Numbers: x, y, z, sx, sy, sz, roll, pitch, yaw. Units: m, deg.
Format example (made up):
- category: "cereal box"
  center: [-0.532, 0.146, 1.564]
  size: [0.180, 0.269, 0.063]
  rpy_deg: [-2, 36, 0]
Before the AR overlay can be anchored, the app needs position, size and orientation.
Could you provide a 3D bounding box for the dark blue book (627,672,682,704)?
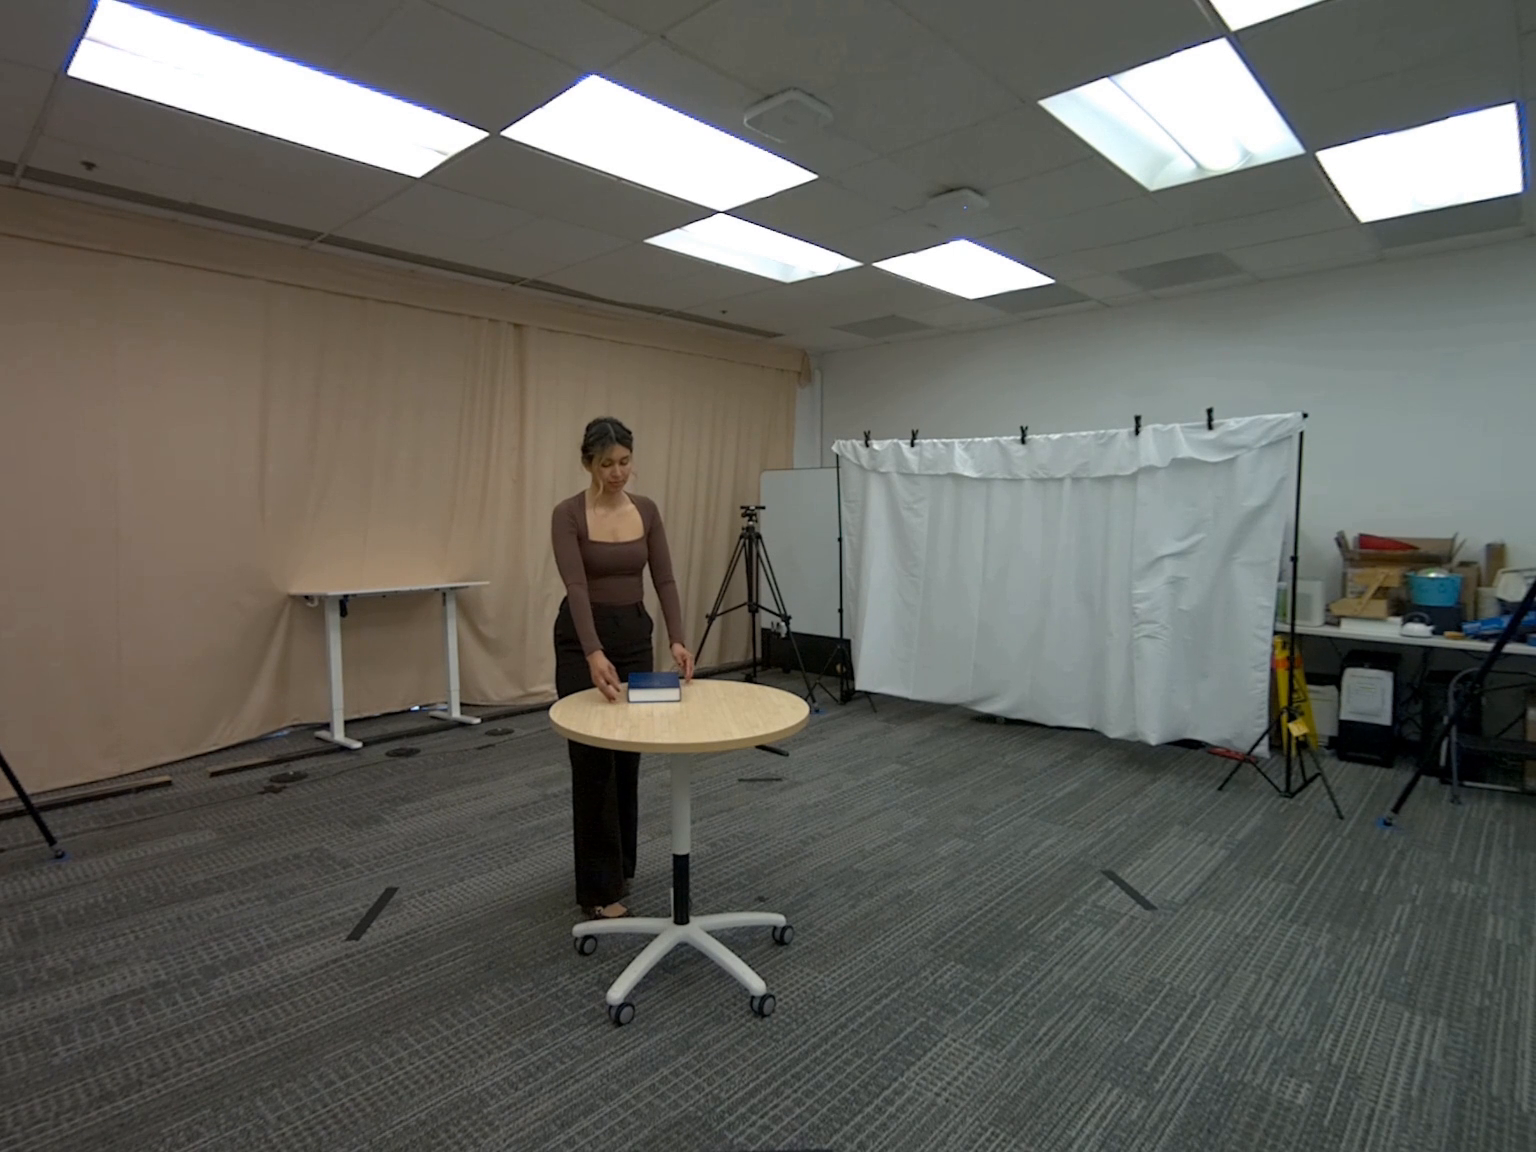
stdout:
- category: "dark blue book"
  center: [-0.363, 0.356, 2.672]
  size: [0.162, 0.045, 0.247]
  rpy_deg: [0, 5, -7]
